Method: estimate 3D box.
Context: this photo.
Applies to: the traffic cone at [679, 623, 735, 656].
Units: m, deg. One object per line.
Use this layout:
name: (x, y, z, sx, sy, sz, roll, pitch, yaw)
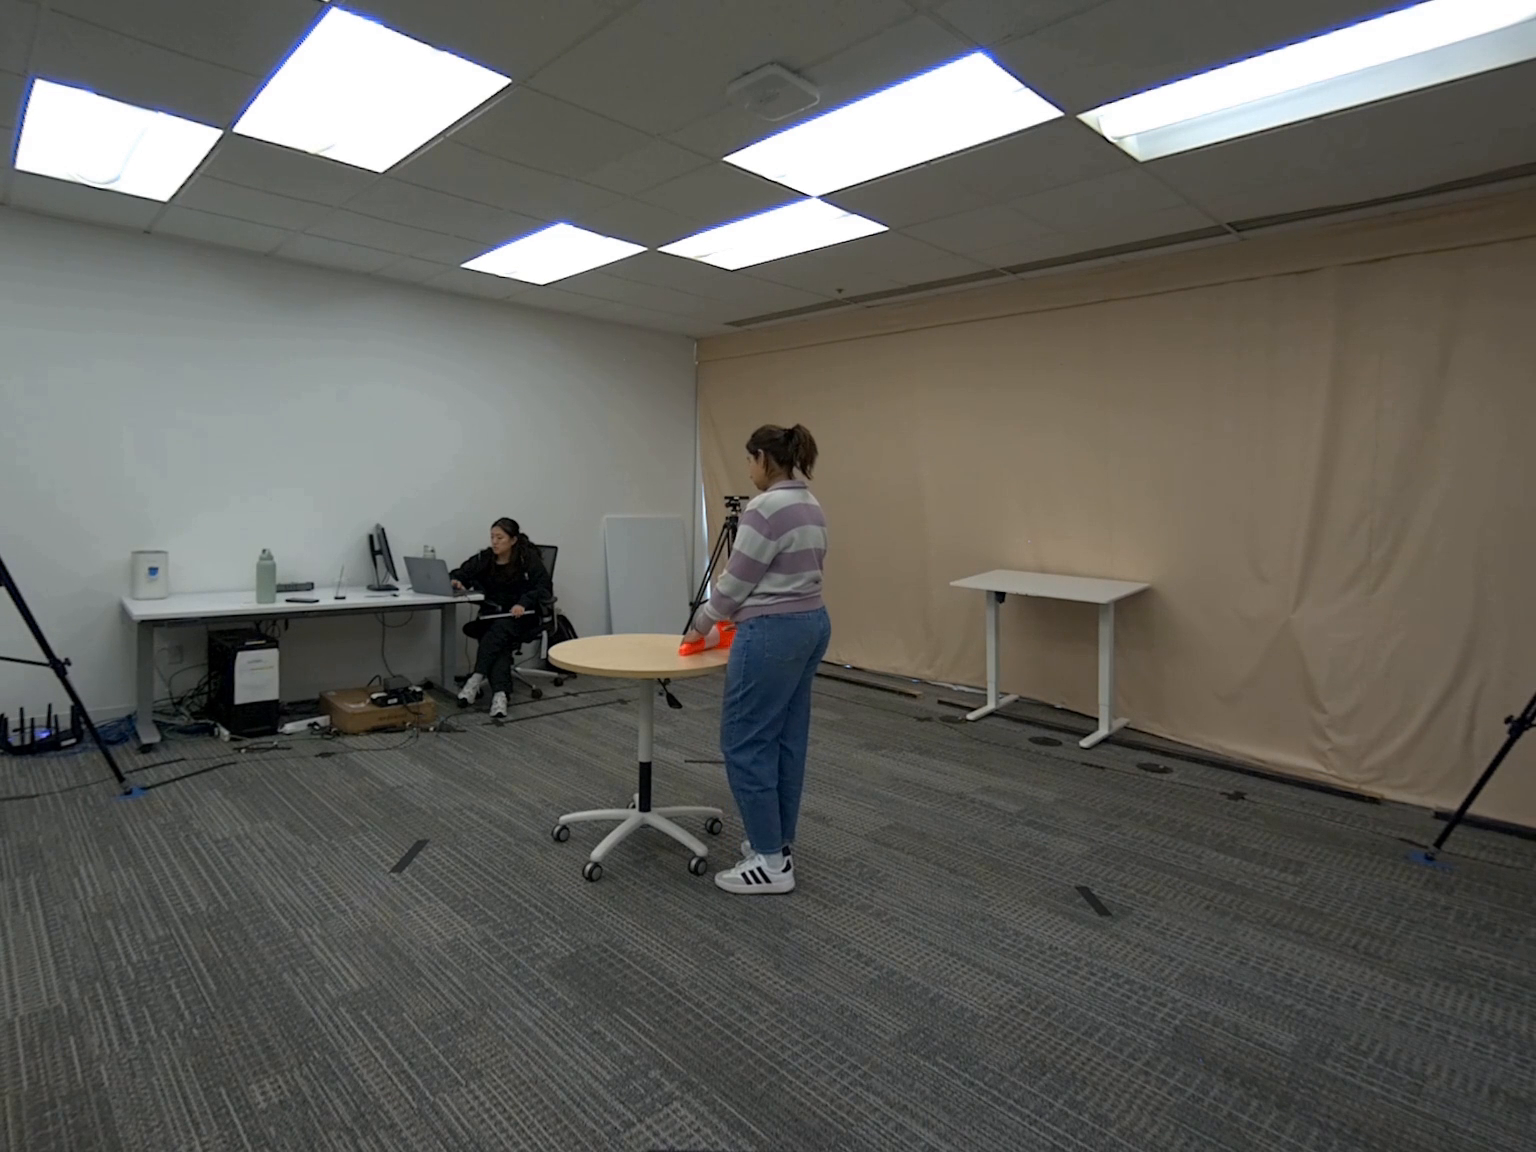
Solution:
traffic cone: (-0.262, 0.251, 3.382, 0.208, 0.202, 0.379, 19, 24, 24)
